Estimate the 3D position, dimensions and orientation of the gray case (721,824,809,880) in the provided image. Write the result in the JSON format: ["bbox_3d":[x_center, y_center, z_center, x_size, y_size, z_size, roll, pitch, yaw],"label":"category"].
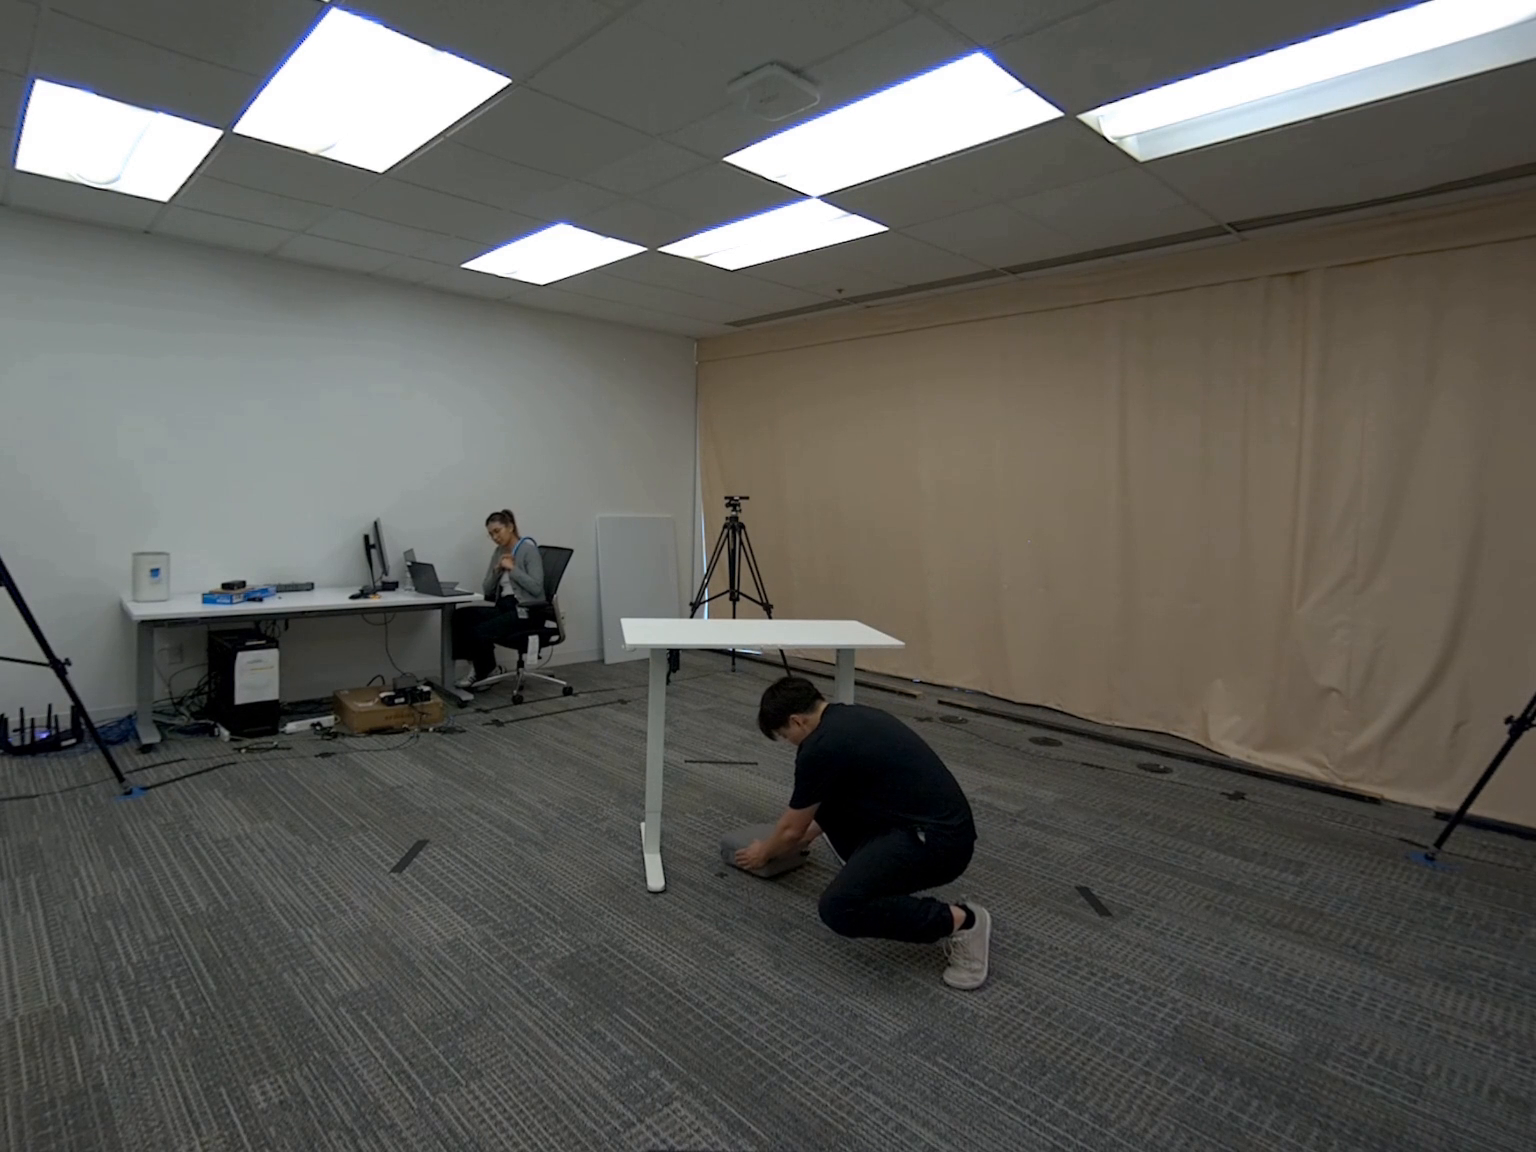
[{"bbox_3d":[-0.020,1.037,3.209,0.267,0.104,0.251,5,5,42],"label":"gray case"}]
